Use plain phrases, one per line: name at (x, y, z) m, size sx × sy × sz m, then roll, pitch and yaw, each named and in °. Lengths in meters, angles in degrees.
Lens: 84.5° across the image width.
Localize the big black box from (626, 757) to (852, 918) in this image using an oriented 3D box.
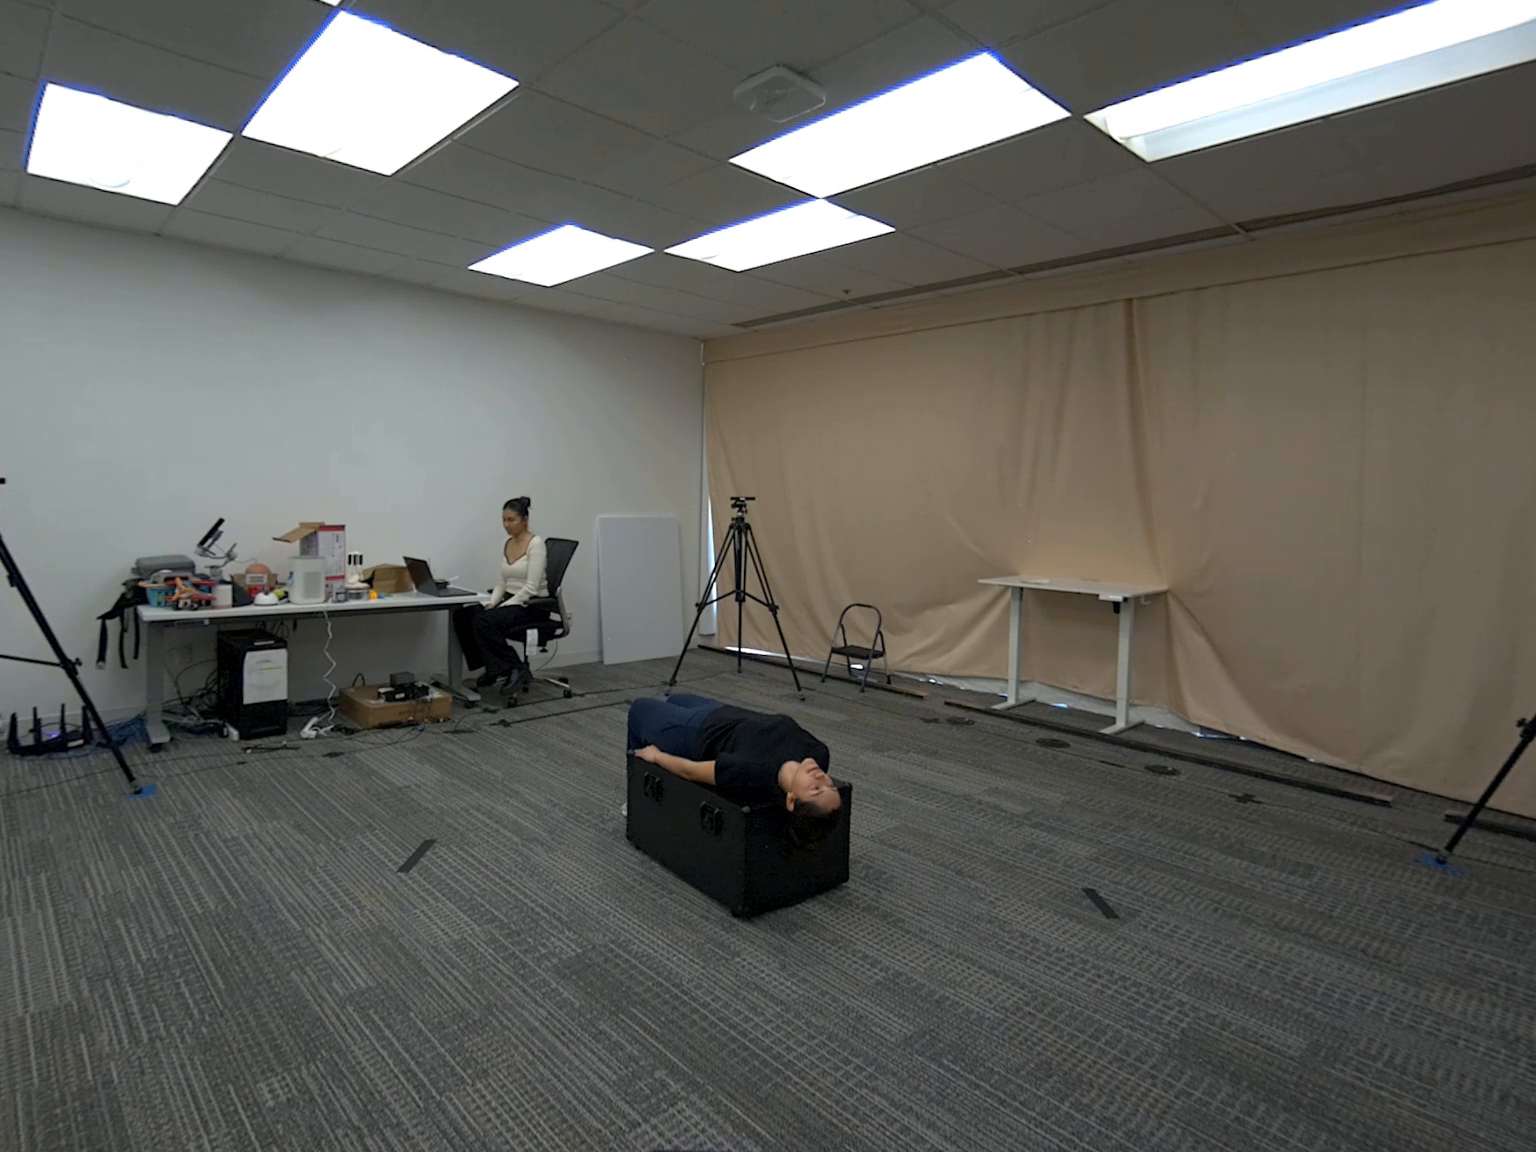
big black box at (-0.123, 0.925, 3.153) m, size 0.510 × 0.395 × 0.882 m, roll -3°, pitch 5°, yaw -38°
